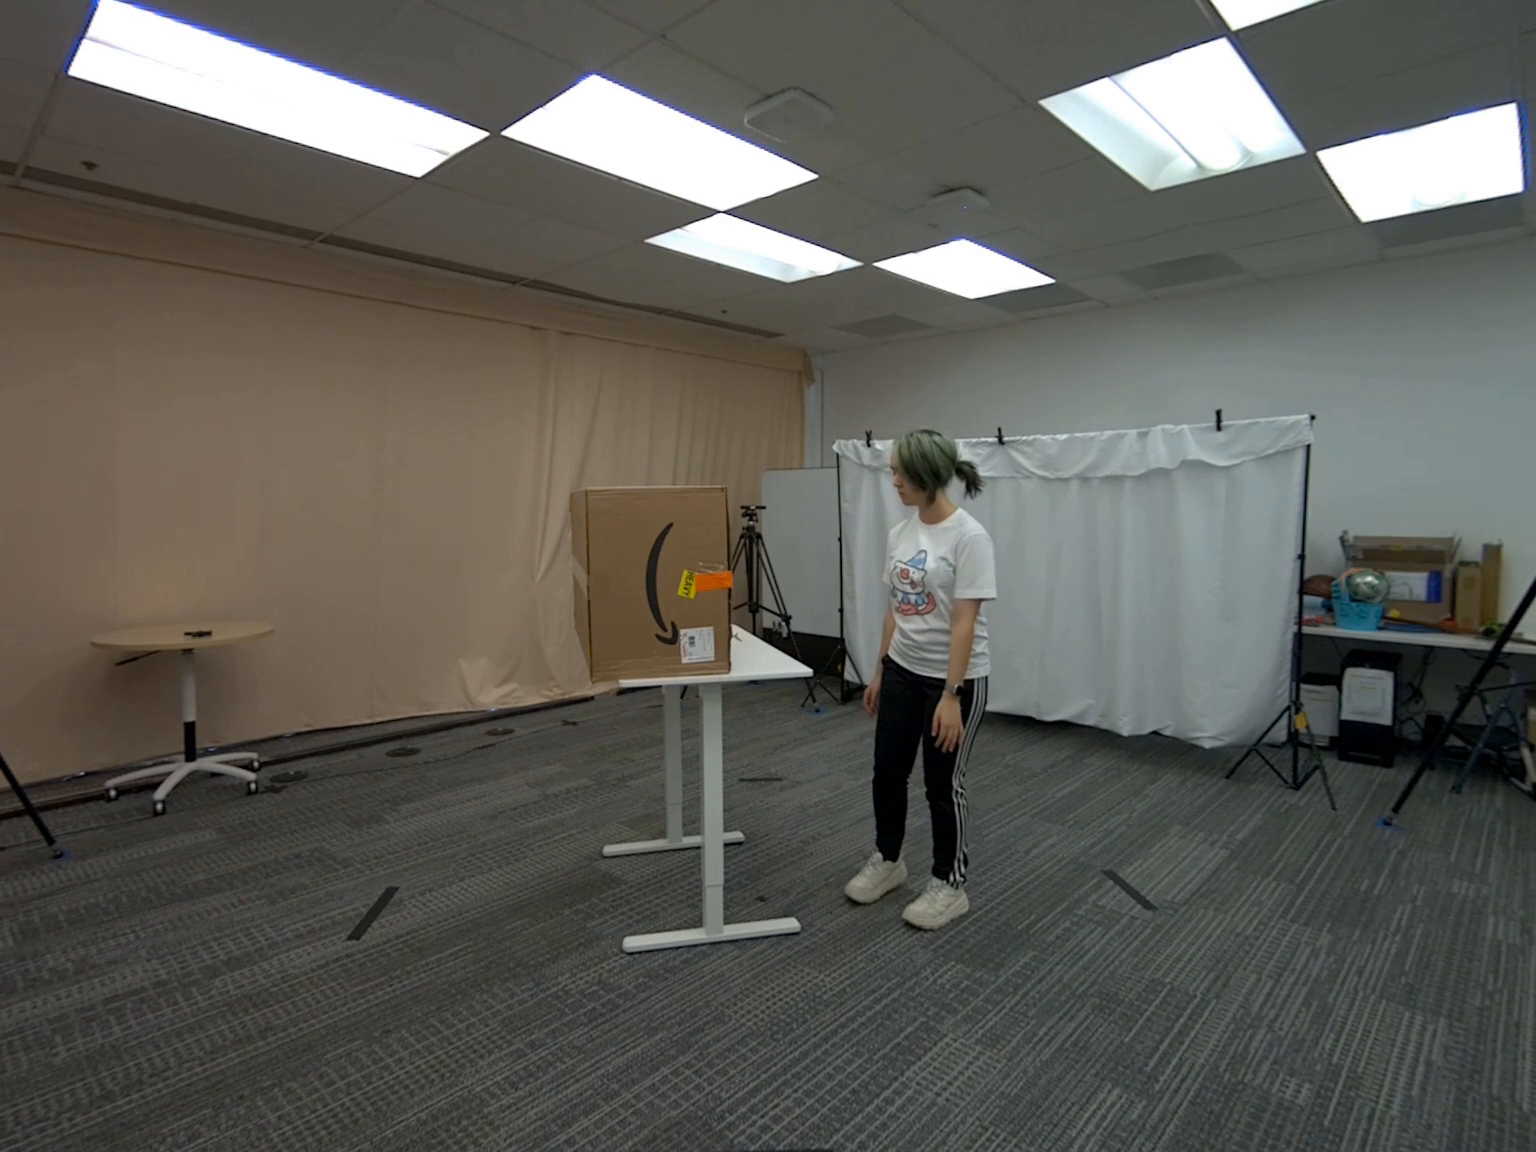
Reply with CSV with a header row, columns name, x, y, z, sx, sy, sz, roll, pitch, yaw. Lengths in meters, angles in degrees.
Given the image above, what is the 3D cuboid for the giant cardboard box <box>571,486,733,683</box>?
name,x,y,z,sx,sy,sz,roll,pitch,yaw
giant cardboard box,-0.462,-0.027,3.003,0.441,0.582,1.044,-1,5,-14
